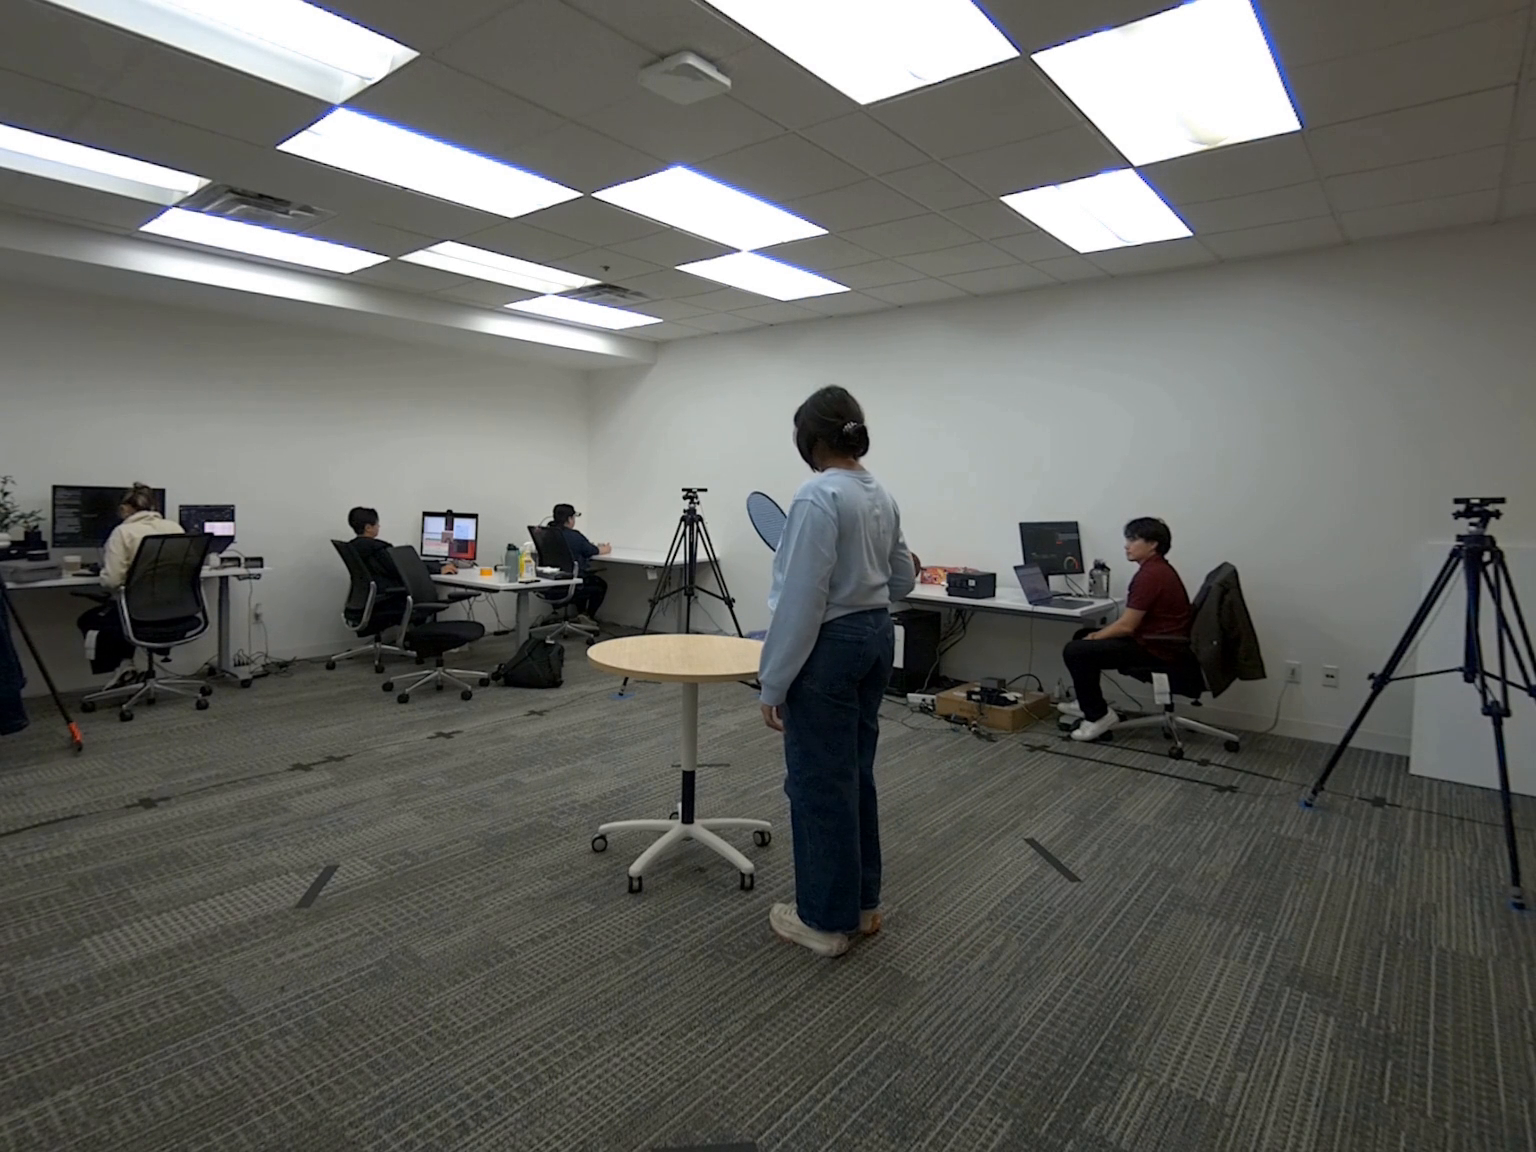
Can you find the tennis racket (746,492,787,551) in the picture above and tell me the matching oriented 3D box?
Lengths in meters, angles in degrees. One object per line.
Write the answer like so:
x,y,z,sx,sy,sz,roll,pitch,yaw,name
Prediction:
0.044,-0.109,2.900,0.206,0.445,0.032,4,-36,-49,tennis racket
